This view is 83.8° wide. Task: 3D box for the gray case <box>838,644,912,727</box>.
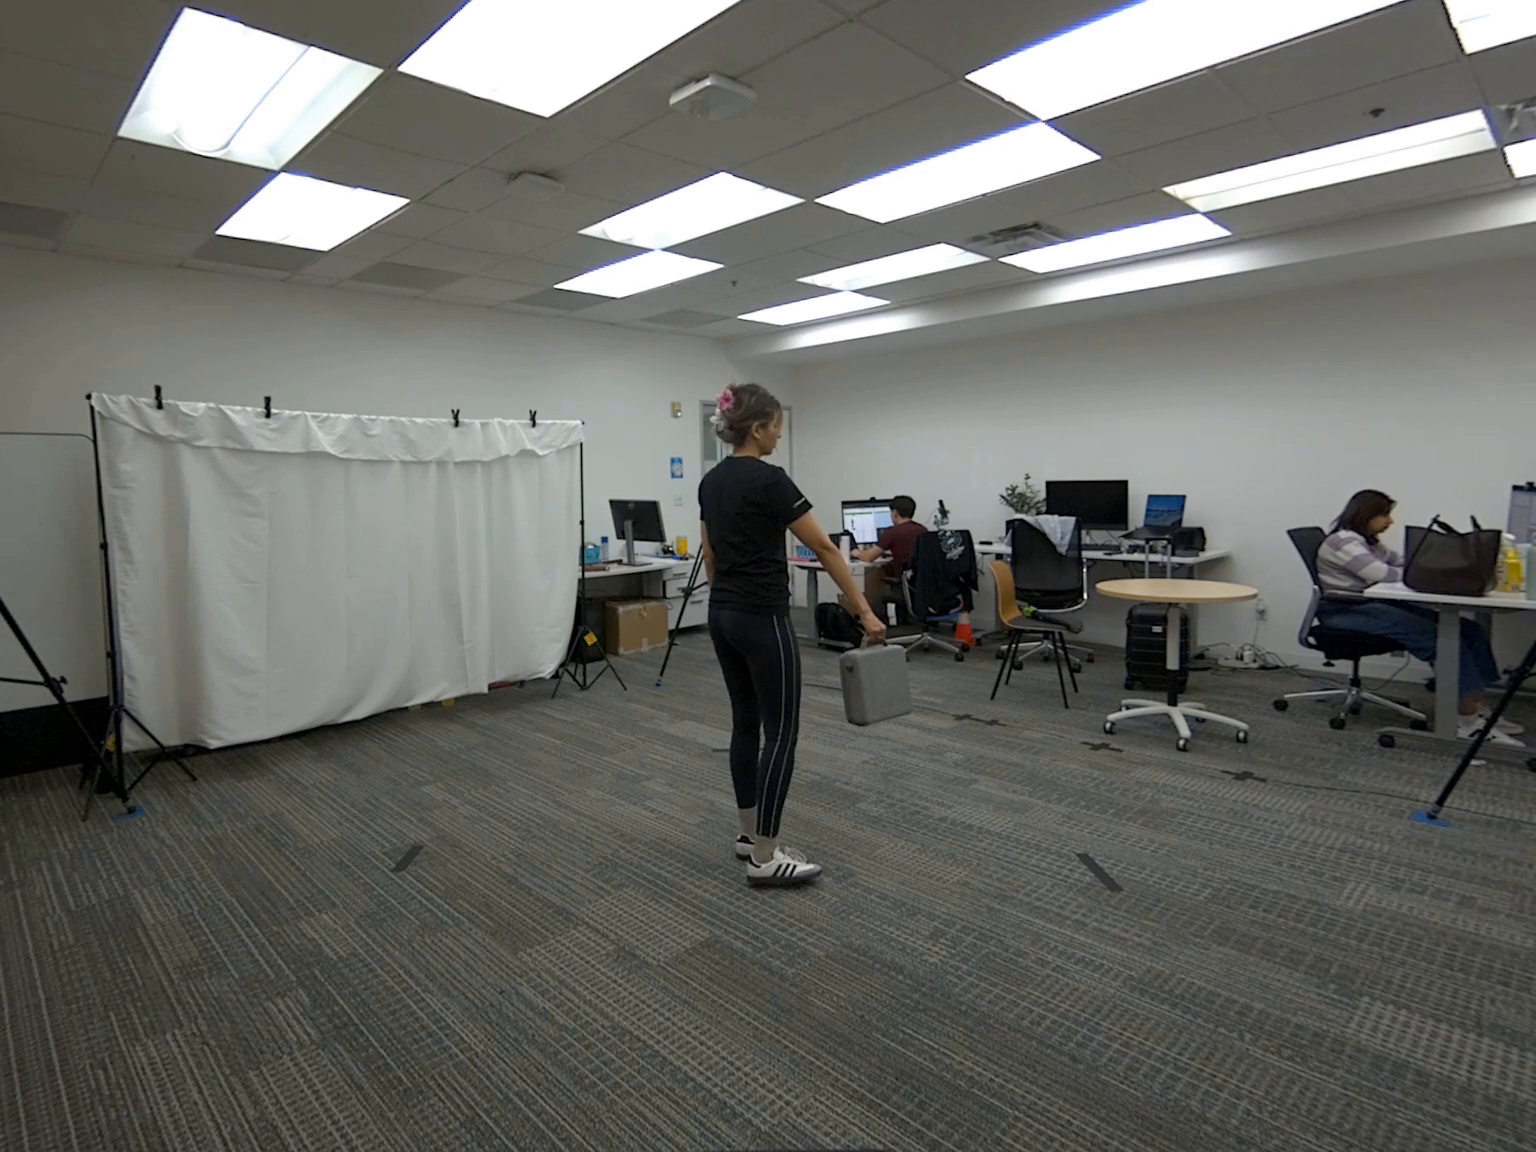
[{"bbox_3d":[0.377,0.372,2.995,0.250,0.261,0.107,-5,-1,-39],"label":"gray case"}]
